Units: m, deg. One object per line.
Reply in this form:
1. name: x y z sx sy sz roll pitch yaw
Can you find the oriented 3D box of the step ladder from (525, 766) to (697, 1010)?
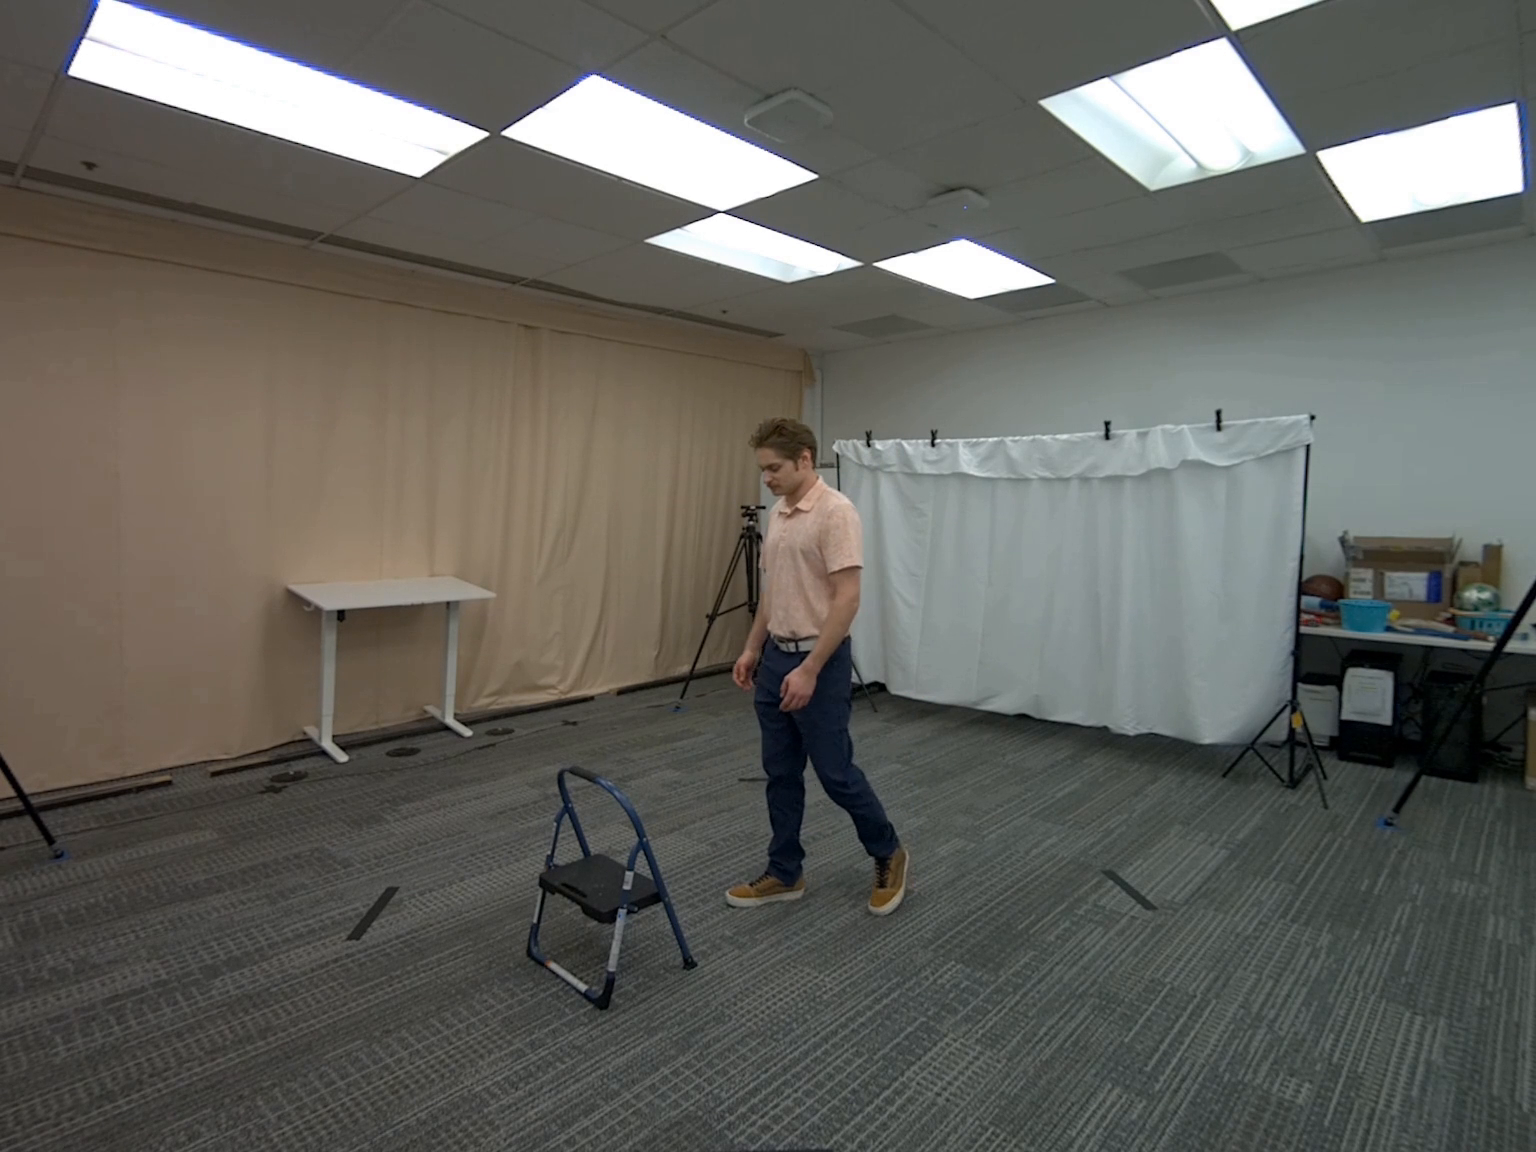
1. step ladder: -0.488 0.888 2.568 0.445 0.605 0.338 1 3 44
